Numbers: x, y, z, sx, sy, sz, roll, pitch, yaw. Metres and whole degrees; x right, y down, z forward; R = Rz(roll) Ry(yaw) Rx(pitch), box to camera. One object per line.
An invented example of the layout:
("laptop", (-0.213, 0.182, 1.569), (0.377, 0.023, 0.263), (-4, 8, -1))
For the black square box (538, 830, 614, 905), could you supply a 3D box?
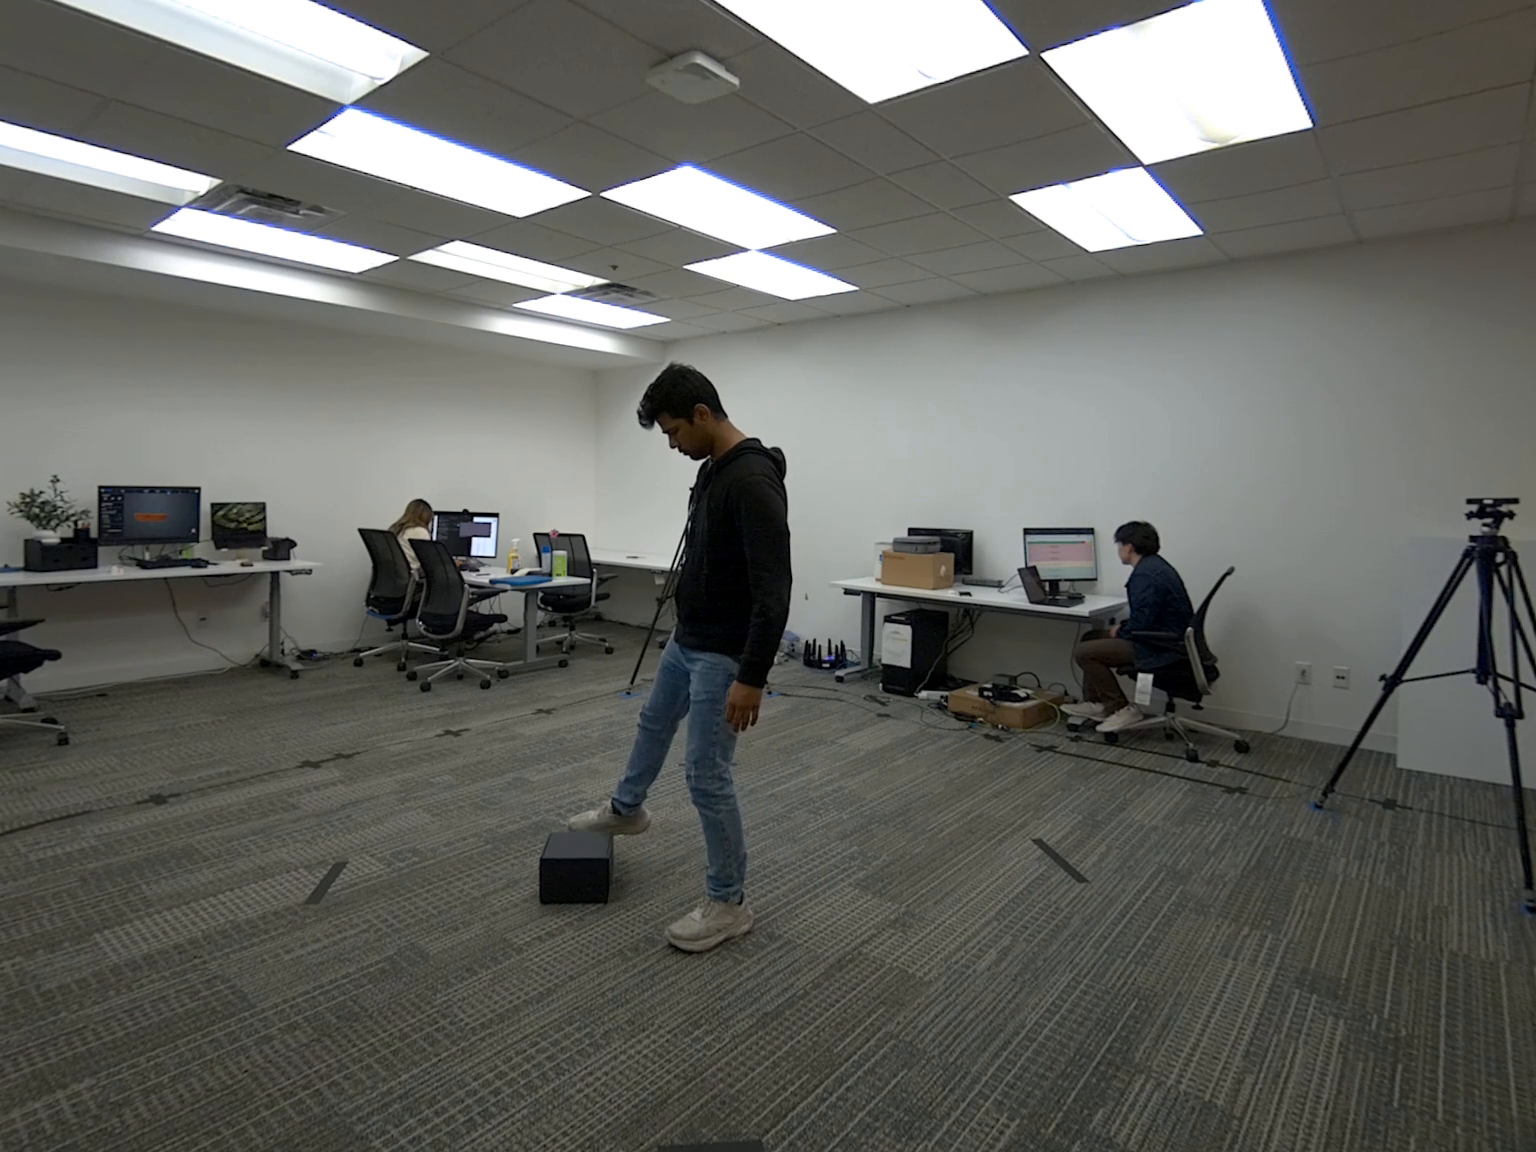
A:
("black square box", (-0.661, 0.991, 2.916), (0.227, 0.155, 0.219), (1, 4, -5))
